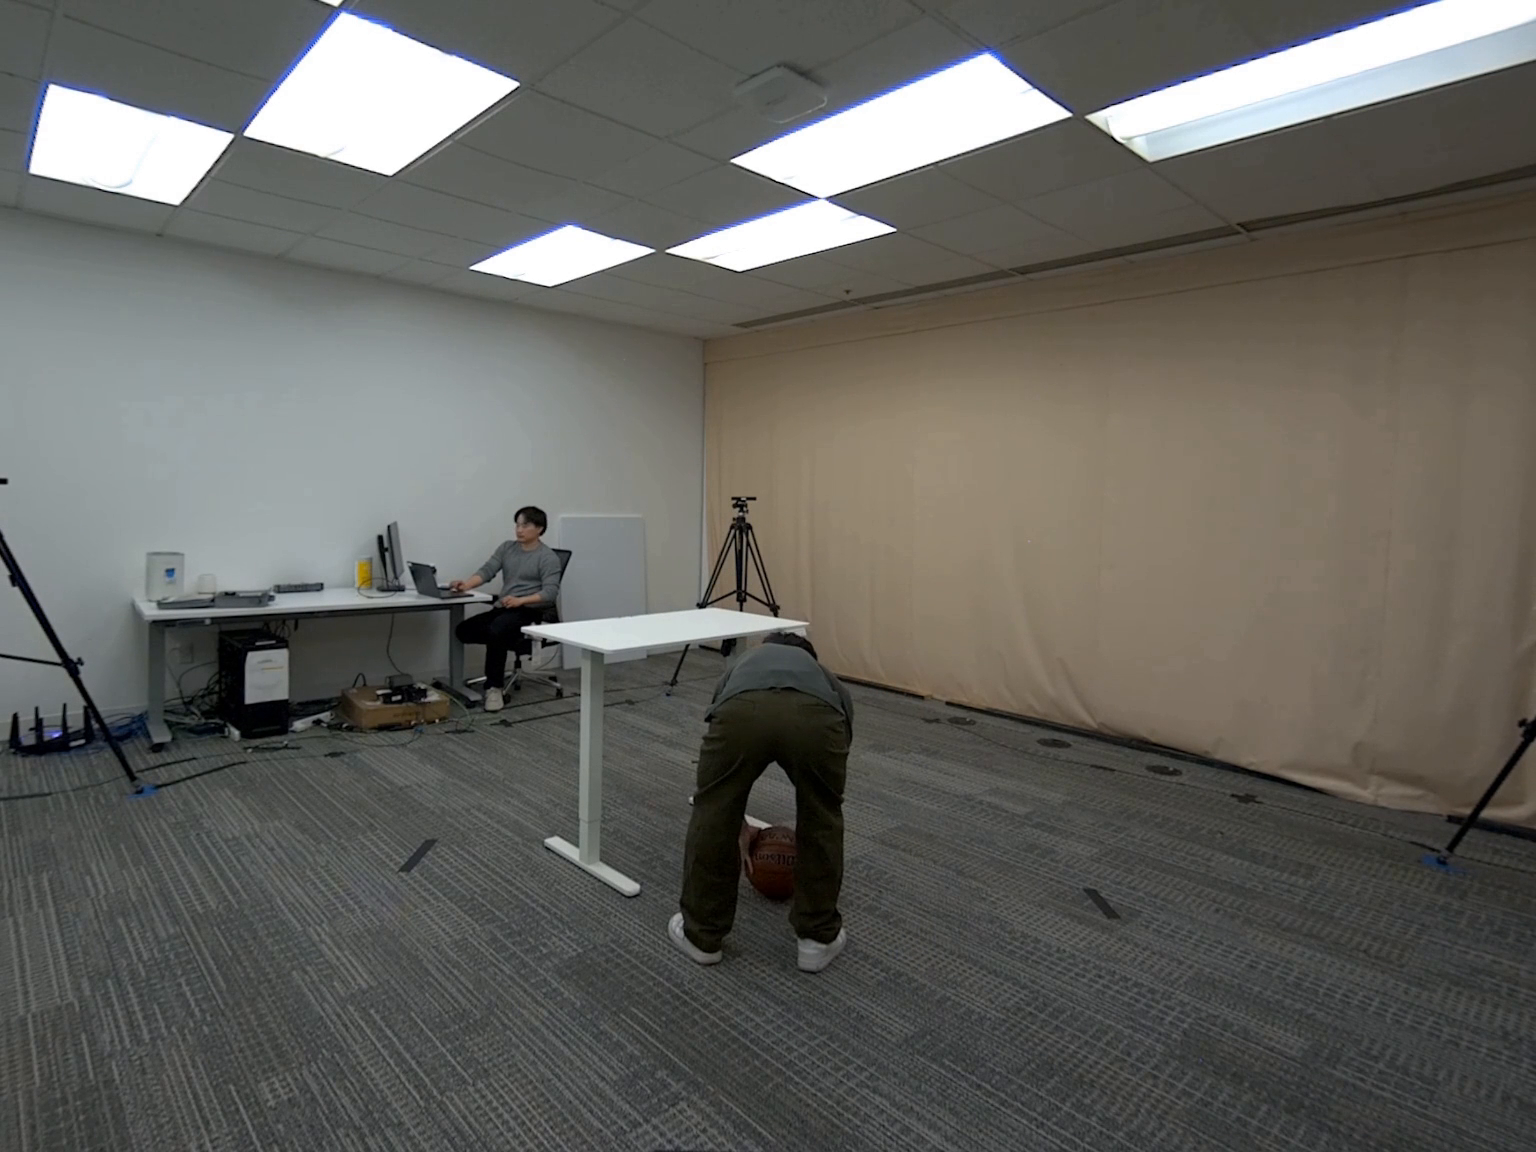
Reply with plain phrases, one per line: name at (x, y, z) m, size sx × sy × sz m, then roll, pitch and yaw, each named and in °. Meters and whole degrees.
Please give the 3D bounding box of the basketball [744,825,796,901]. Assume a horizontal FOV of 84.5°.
basketball at (0.030, 0.990, 2.953) m, size 0.236 × 0.235 × 0.237 m, roll 1°, pitch 4°, yaw -1°
